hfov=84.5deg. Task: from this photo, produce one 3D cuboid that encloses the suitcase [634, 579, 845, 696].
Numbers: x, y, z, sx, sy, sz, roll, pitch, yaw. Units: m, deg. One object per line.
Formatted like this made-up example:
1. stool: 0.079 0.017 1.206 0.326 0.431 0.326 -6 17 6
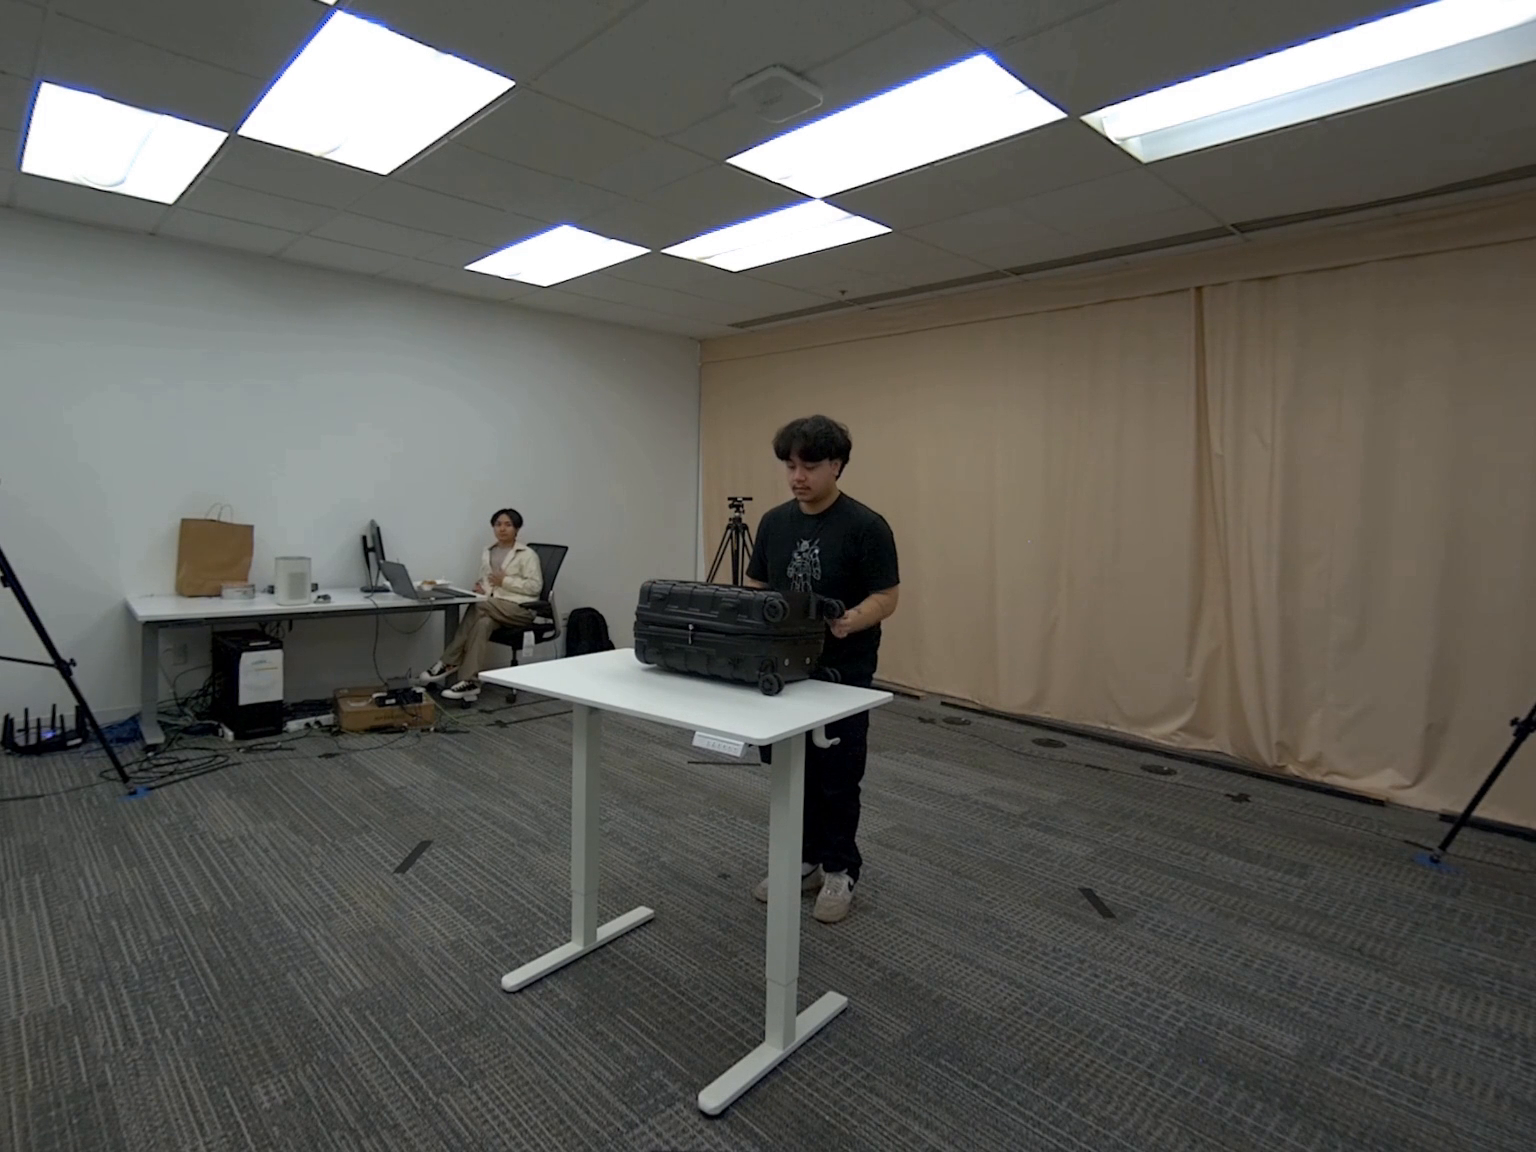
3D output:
1. suitcase: -0.115 0.162 2.455 0.563 0.248 0.366 6 3 38
